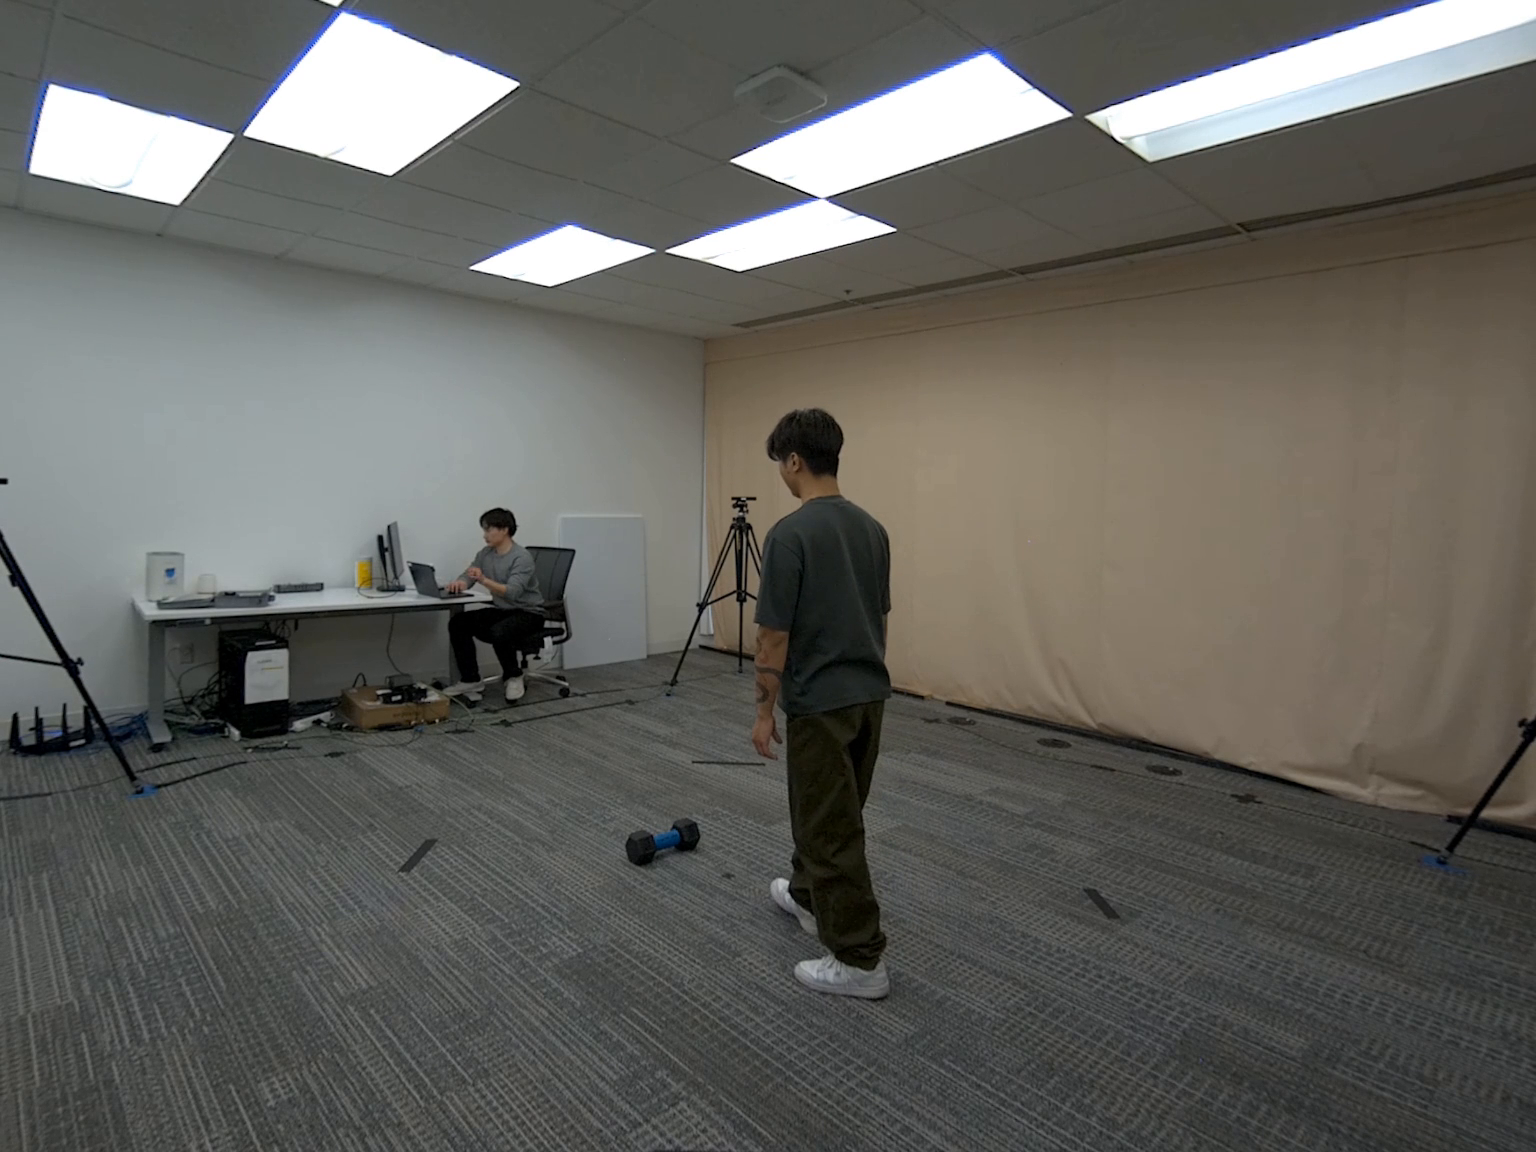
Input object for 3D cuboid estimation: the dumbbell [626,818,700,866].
[{"bbox_3d":[-0.414,1.030,3.274,0.287,0.125,0.109,-3,-25,-41],"label":"dumbbell"}]
